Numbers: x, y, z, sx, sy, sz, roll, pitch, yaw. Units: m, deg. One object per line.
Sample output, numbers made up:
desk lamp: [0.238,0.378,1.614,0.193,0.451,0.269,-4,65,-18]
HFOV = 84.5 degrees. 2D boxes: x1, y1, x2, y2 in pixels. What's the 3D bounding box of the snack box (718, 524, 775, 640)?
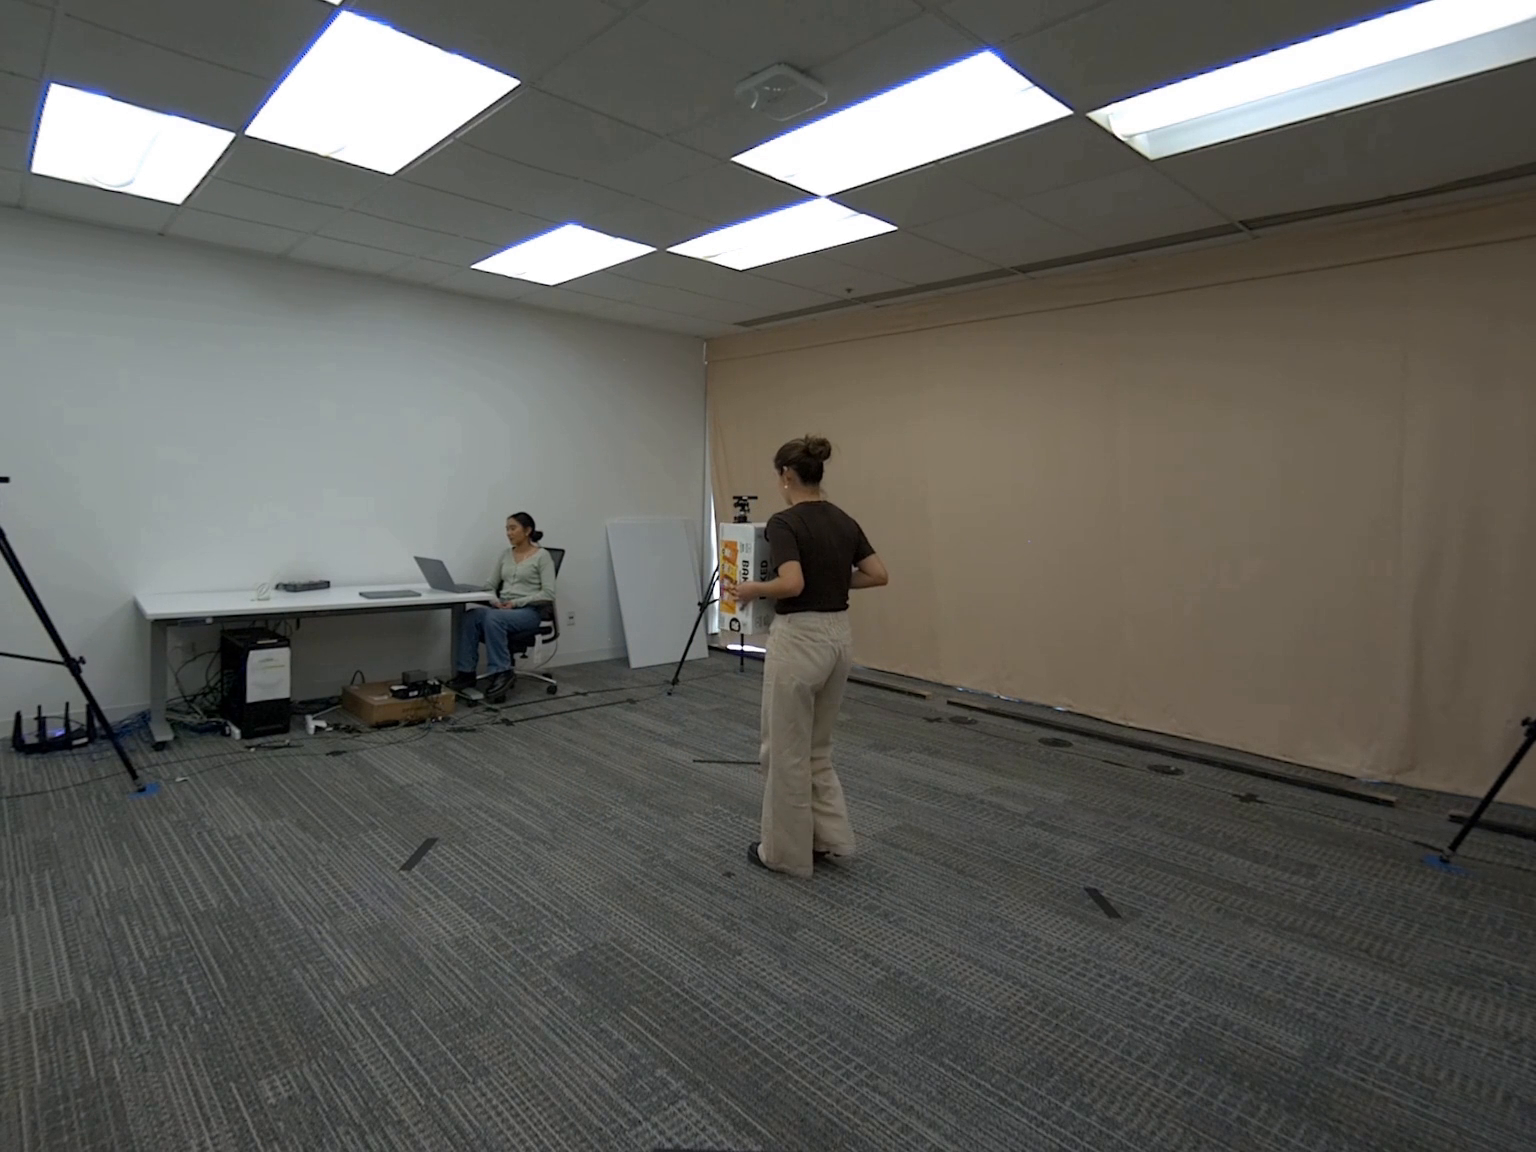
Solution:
snack box: [0.003,0.006,3.262,0.333,0.404,0.211,-4,6,-43]
